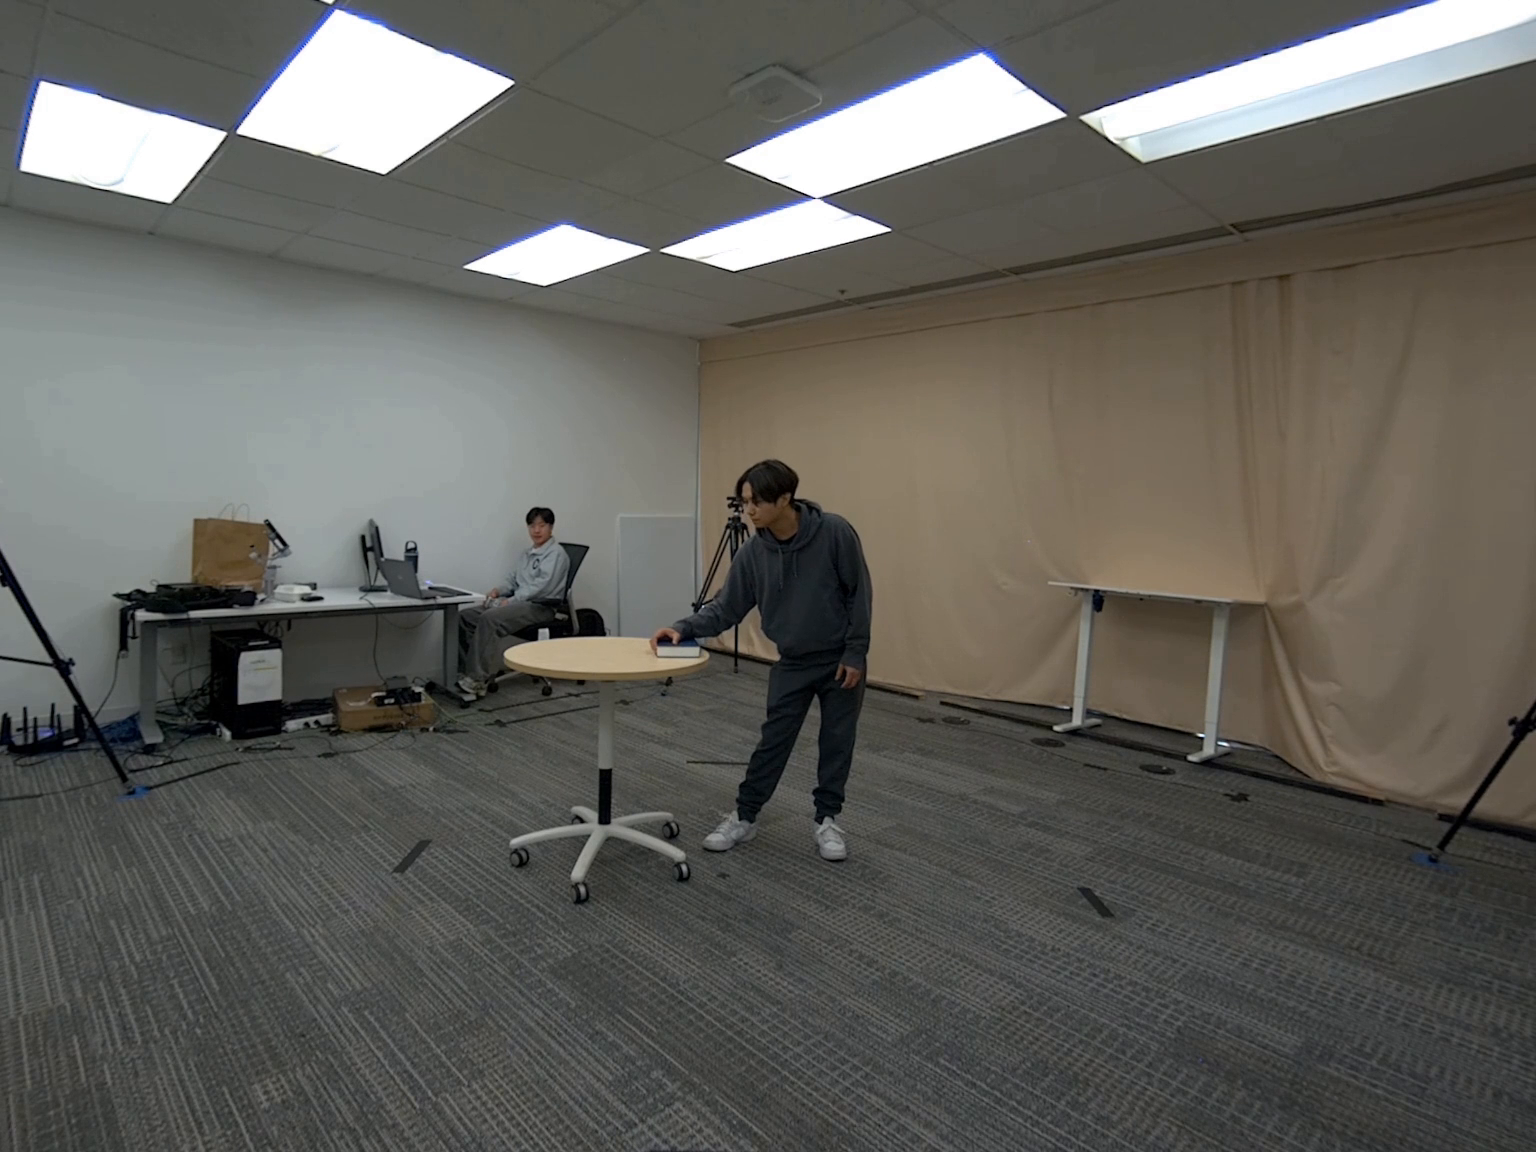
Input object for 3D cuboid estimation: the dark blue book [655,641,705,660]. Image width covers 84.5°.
[{"bbox_3d":[-0.368,0.274,3.253,0.162,0.045,0.248,1,4,-11],"label":"dark blue book"}]
